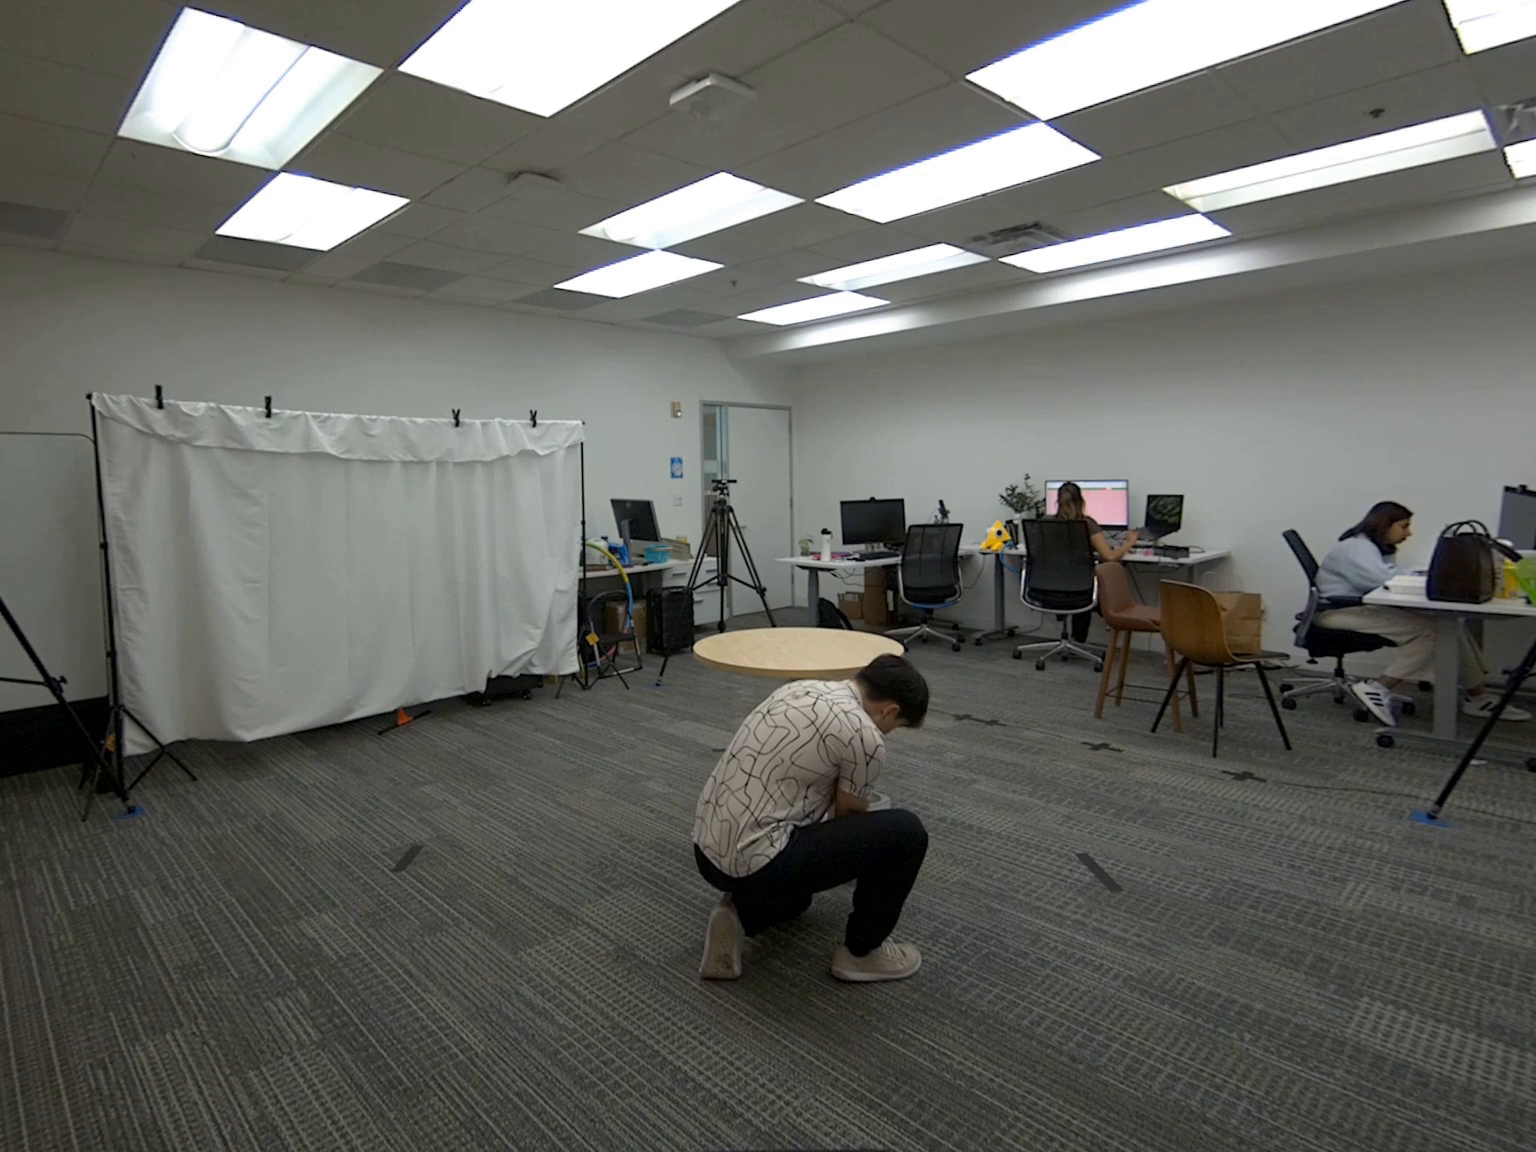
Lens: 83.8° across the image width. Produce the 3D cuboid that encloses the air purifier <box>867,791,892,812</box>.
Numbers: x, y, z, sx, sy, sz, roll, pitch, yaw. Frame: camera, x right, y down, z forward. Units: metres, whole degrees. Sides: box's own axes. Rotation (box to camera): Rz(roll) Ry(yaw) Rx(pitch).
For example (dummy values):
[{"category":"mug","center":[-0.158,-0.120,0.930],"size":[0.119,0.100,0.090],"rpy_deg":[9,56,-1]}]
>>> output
[{"category":"air purifier","center":[0.297,0.836,2.733],"size":[0.176,0.265,0.166],"rpy_deg":[3,1,40]}]
